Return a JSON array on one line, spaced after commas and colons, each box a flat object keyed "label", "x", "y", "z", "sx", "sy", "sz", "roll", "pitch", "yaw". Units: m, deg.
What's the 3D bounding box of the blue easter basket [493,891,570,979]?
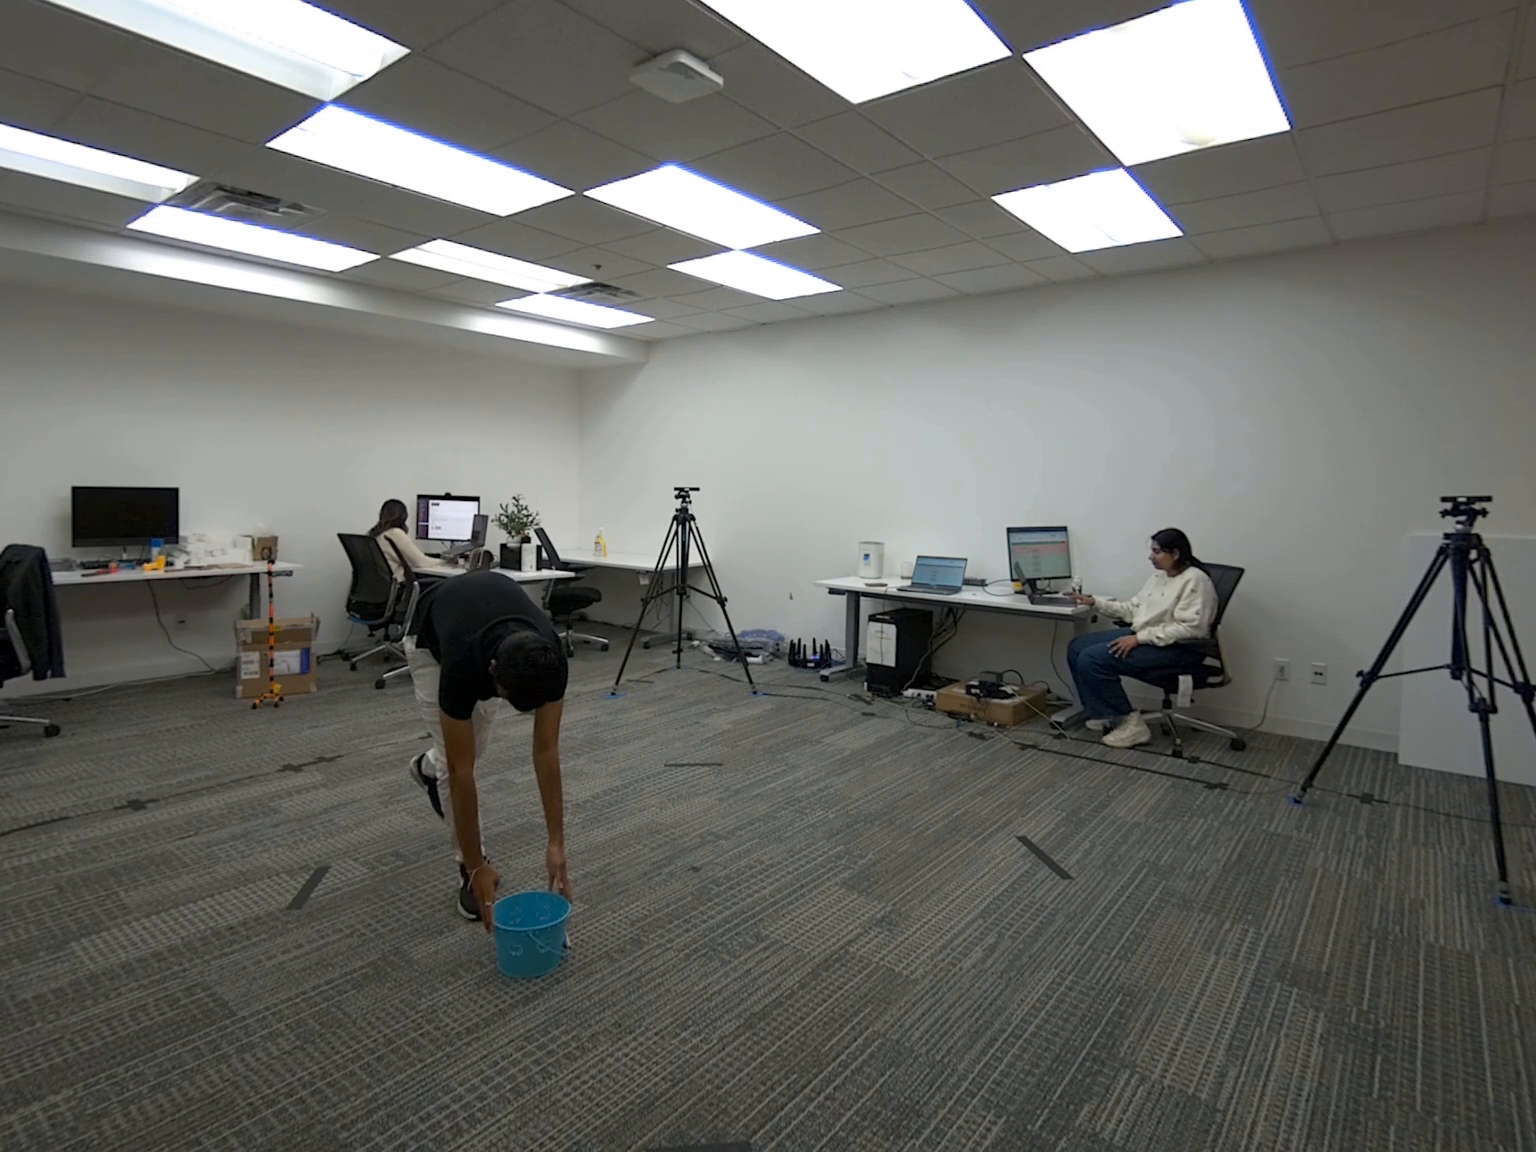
[{"label": "blue easter basket", "x": -0.698, "y": 1.045, "z": 2.475, "sx": 0.243, "sy": 0.155, "sz": 0.245, "roll": 0, "pitch": 6, "yaw": -2}]
